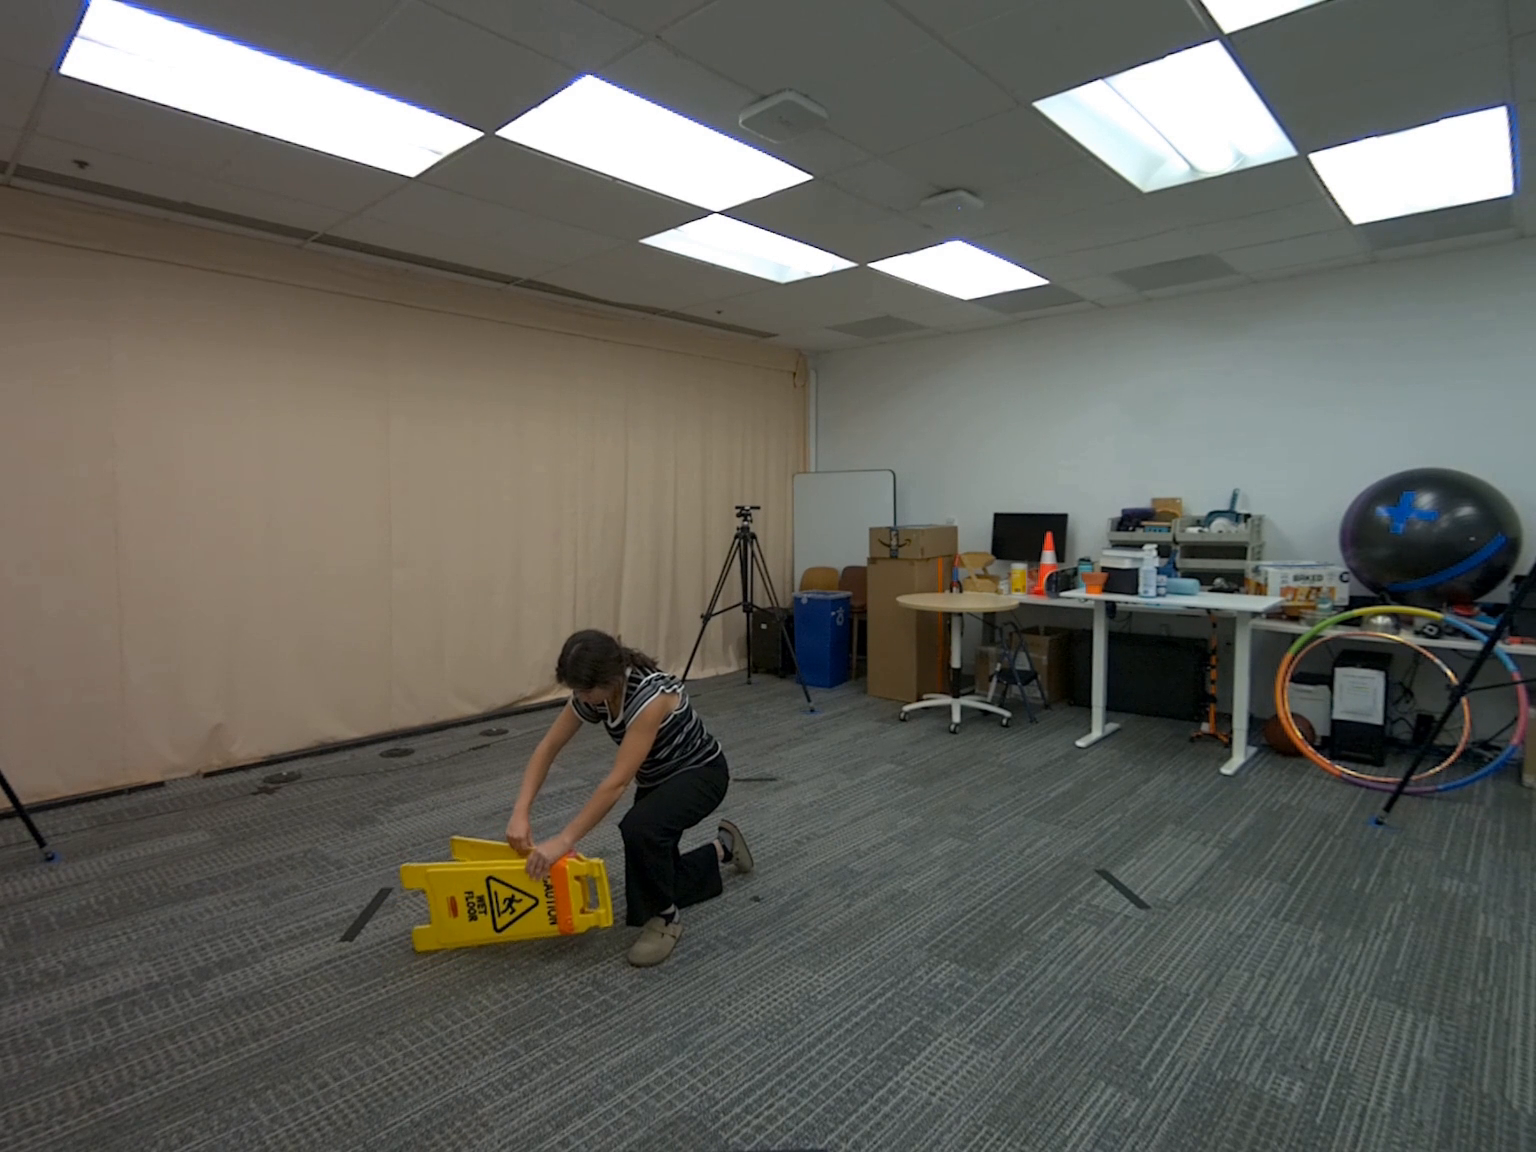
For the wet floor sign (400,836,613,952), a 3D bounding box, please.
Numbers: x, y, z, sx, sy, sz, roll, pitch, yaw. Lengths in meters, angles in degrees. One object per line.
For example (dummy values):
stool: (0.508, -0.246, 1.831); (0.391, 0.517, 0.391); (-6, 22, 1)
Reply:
wet floor sign: (-0.783, 0.994, 2.616); (0.659, 0.282, 0.284); (-8, 2, 21)
